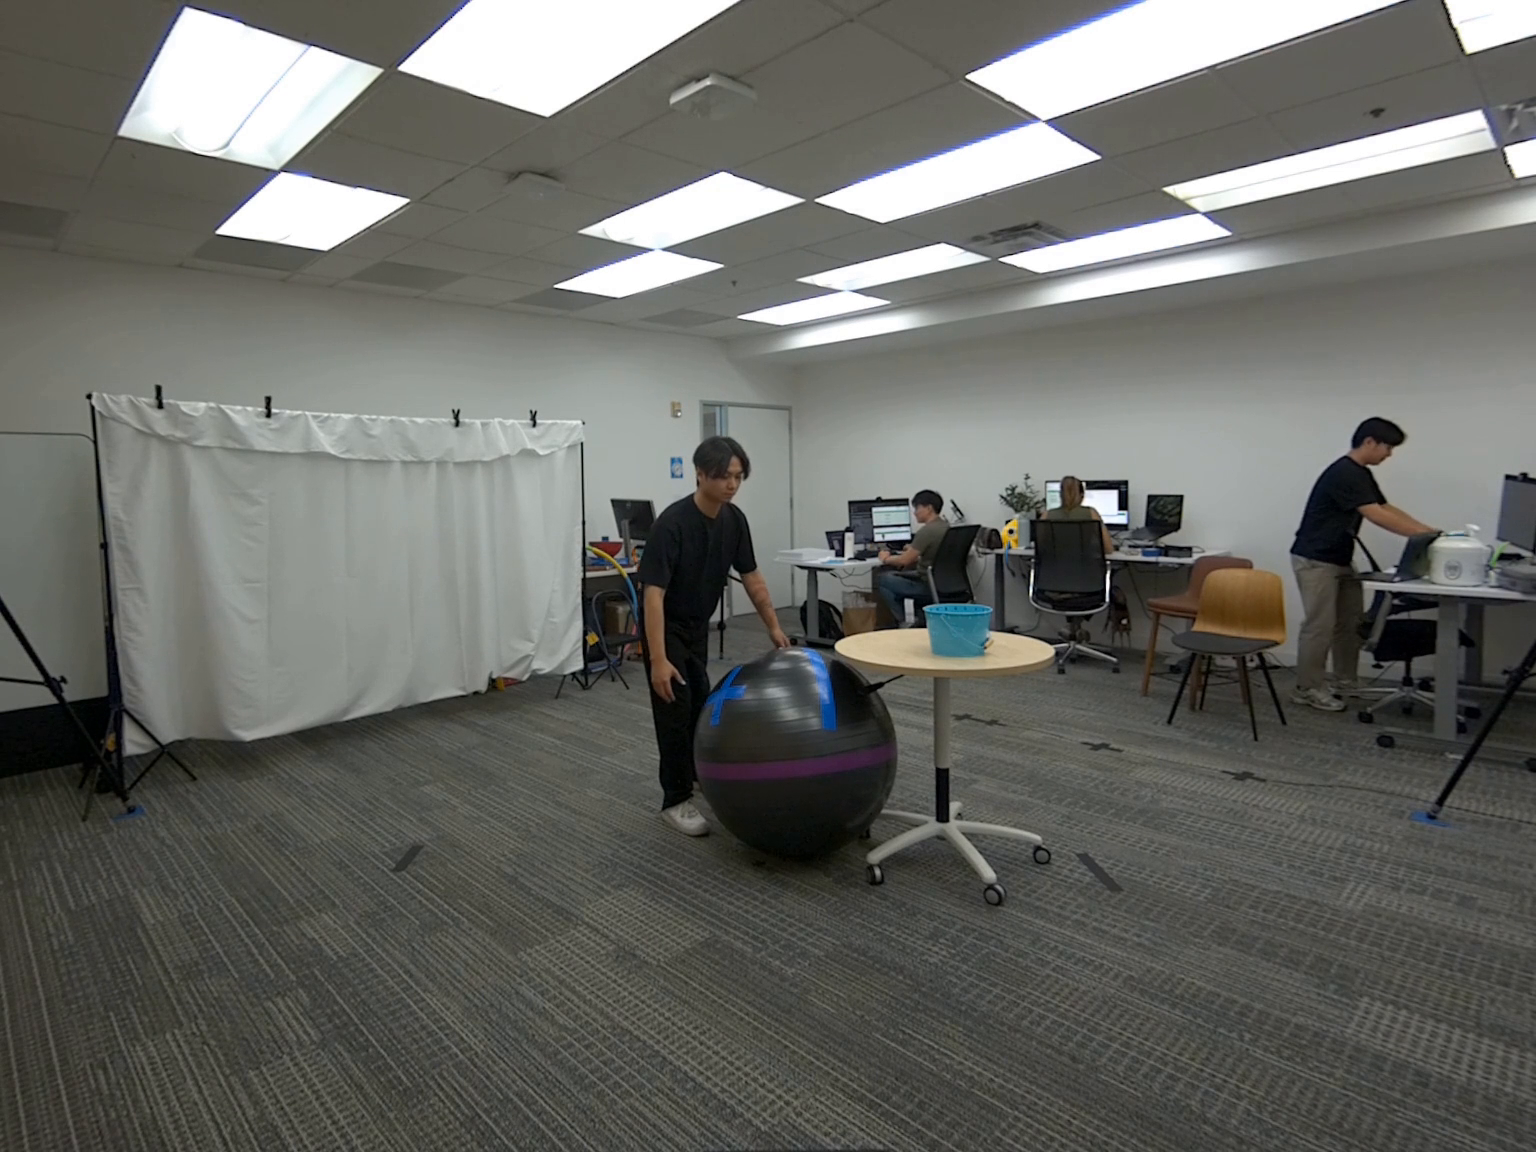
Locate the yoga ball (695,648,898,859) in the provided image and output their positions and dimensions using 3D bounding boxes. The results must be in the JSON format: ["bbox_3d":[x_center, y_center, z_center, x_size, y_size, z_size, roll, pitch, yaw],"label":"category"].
[{"bbox_3d":[0.103,0.666,3.209,0.757,0.755,0.762,-1,5,-2],"label":"yoga ball"}]
